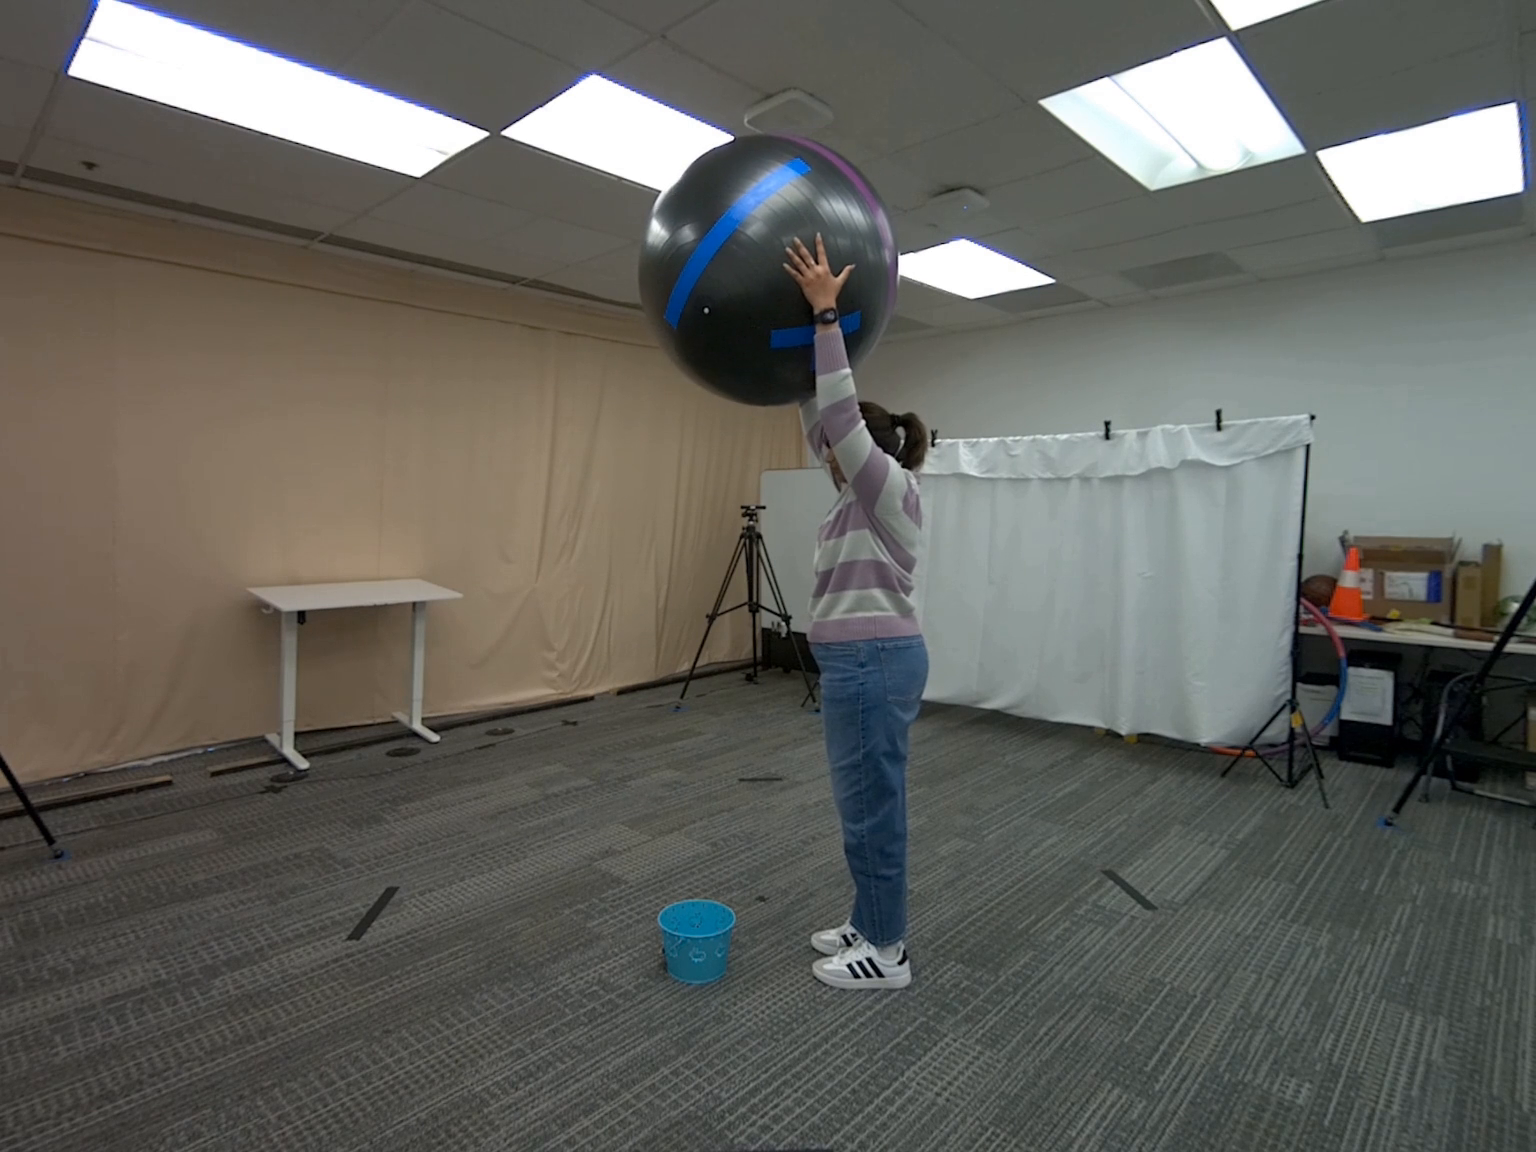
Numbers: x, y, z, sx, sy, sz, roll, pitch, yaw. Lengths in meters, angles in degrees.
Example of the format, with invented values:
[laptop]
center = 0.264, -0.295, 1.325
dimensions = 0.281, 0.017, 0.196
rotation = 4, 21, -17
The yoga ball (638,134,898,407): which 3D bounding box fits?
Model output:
[yoga ball]
center = -0.001, -0.875, 2.477
dimensions = 0.757, 0.756, 0.761
rotation = 0, 4, -2
